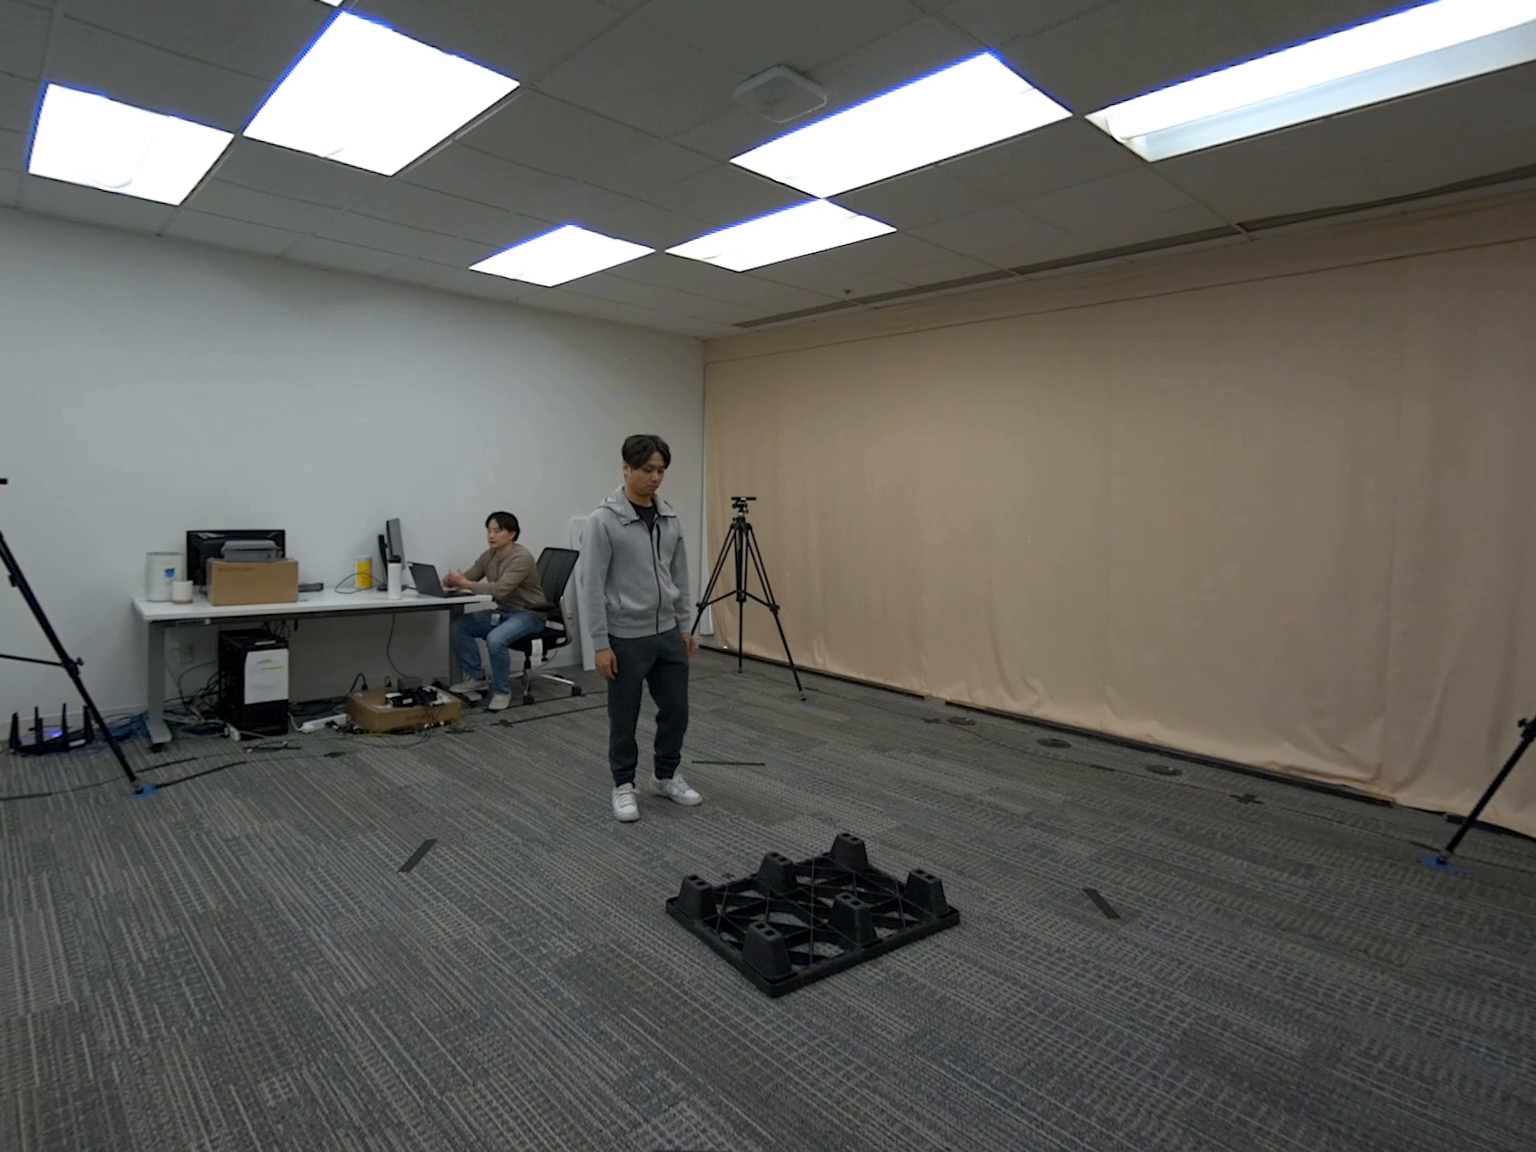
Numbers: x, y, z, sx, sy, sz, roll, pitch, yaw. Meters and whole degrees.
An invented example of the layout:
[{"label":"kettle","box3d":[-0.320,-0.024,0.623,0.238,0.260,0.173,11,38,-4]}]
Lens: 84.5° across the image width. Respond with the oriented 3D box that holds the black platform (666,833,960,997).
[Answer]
[{"label":"black platform","box3d":[0.142,1.076,2.800,0.788,0.143,0.620,-3,7,-37]}]
